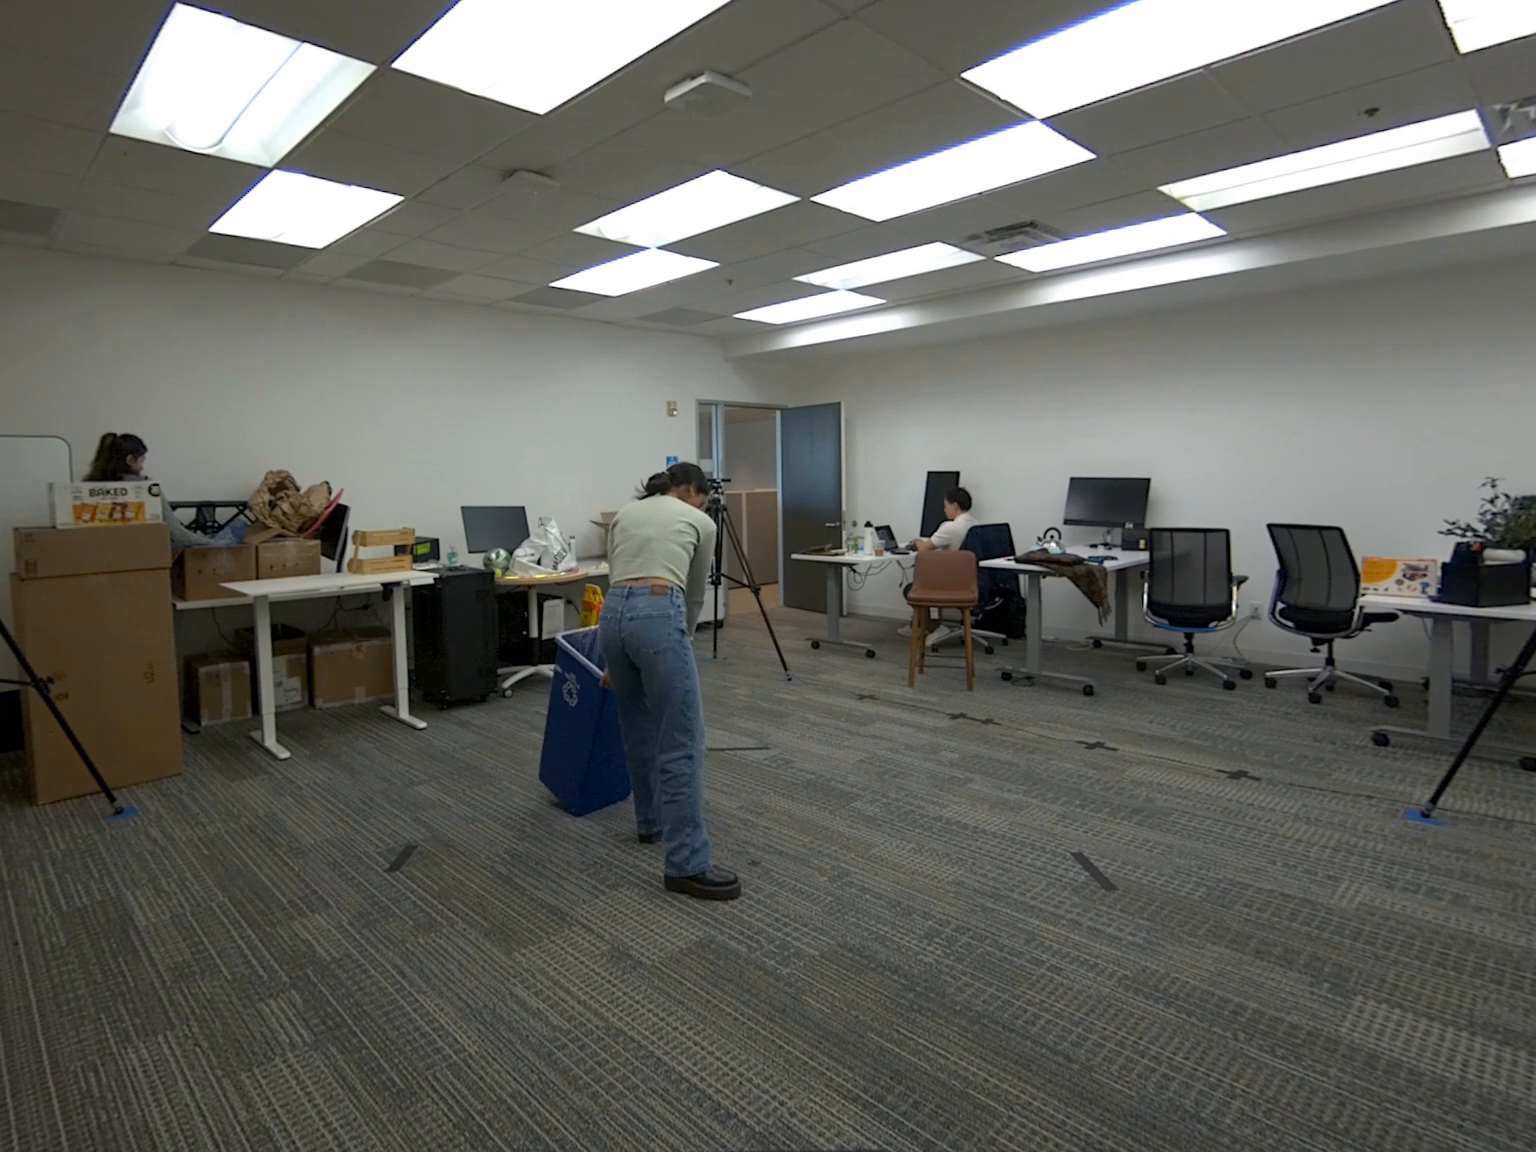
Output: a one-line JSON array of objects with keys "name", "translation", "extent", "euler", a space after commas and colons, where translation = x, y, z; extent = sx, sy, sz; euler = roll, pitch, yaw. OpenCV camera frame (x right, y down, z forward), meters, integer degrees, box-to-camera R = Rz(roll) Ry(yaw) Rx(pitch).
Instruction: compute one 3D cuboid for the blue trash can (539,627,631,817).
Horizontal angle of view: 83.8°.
[{"name": "blue trash can", "translation": [-0.707, 0.611, 3.636], "extent": [0.388, 0.705, 0.369], "euler": [30, 25, 35]}]
